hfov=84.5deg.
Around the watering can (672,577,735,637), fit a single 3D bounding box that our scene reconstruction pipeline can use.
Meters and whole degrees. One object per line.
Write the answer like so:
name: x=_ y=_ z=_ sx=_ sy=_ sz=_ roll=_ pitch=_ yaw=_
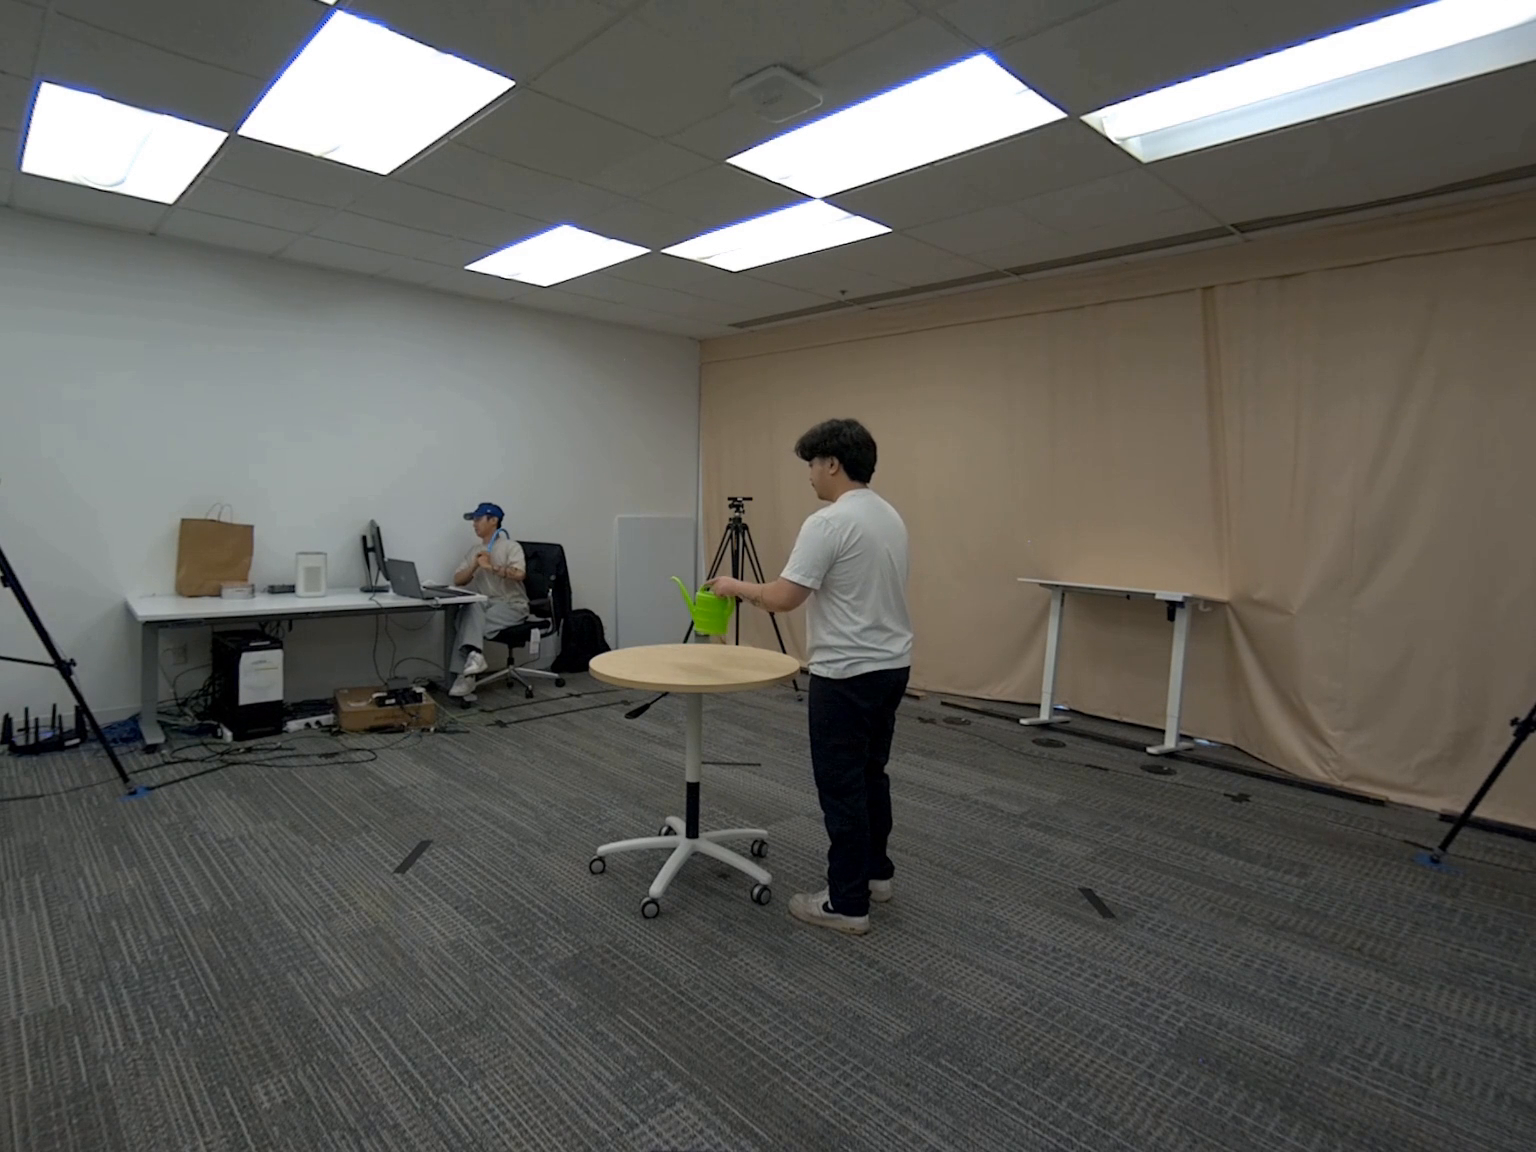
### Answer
watering can: x=-0.234 y=0.111 z=3.042 sx=0.286 sy=0.176 sz=0.096 roll=13 pitch=12 yaw=41
